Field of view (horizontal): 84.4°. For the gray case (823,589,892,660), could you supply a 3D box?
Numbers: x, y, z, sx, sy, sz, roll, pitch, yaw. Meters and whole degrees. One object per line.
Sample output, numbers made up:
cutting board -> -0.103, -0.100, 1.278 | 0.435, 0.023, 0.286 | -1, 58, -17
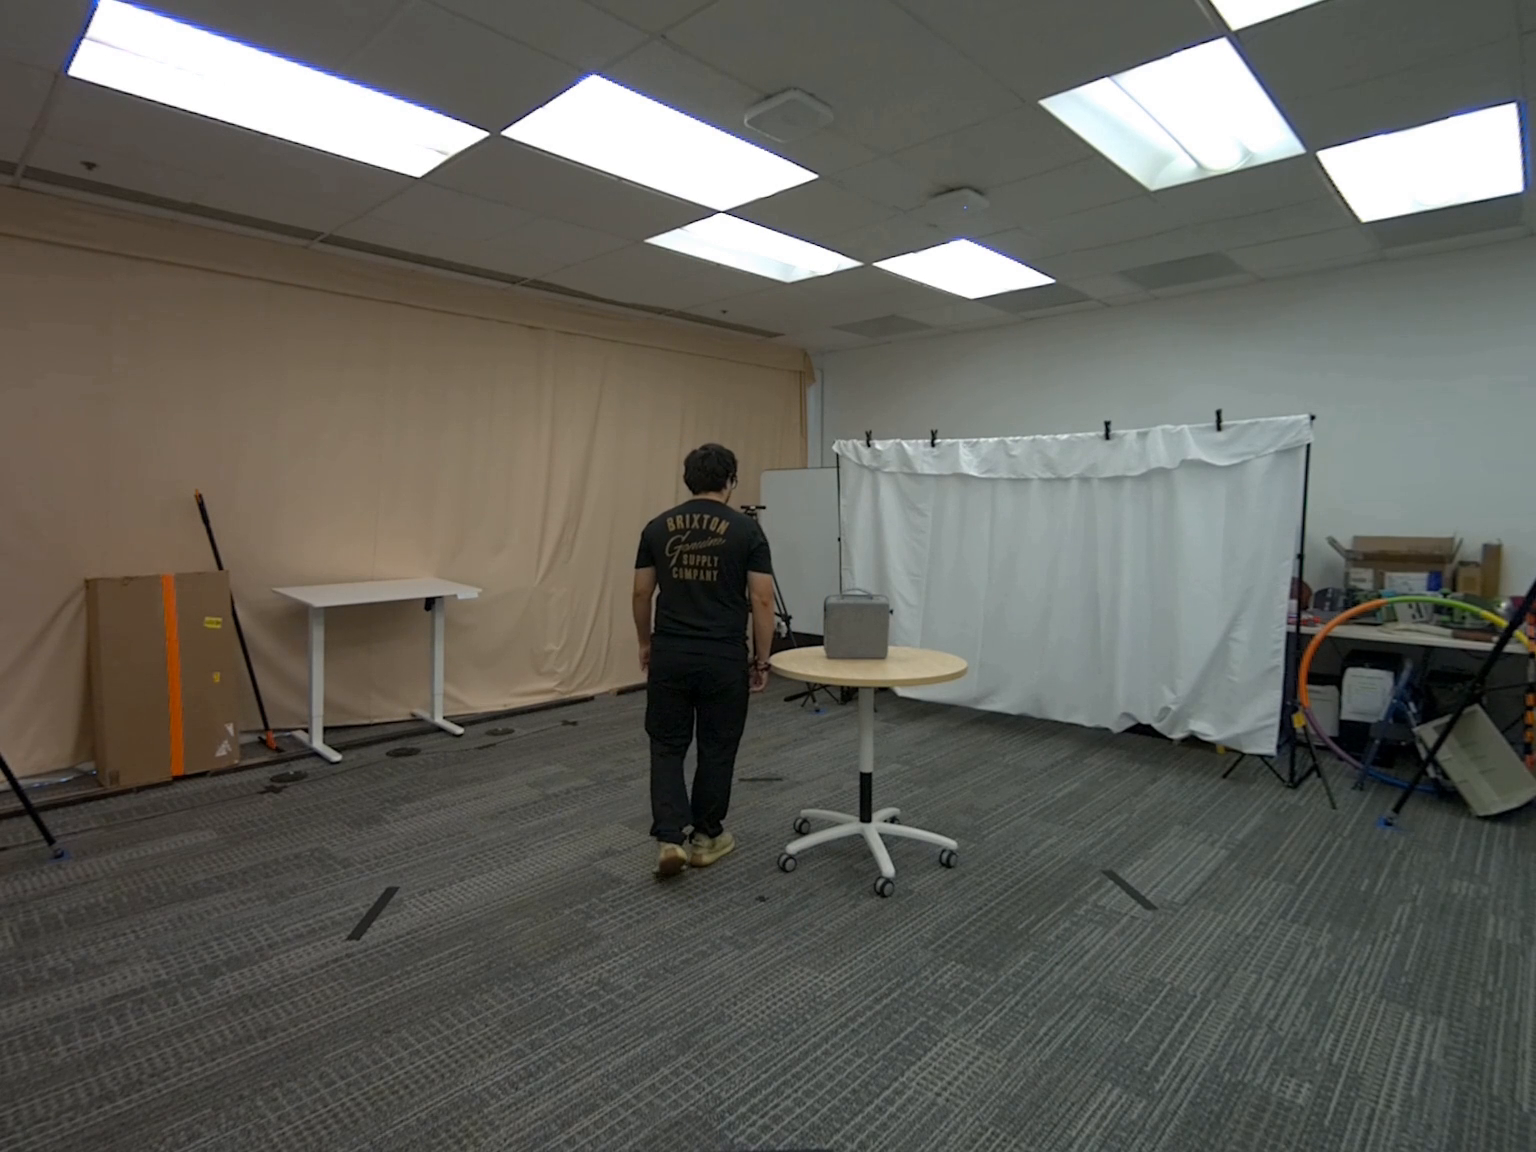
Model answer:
gray case -> 0.359, 0.201, 3.349 | 0.258, 0.258, 0.105 | -1, 12, 2
